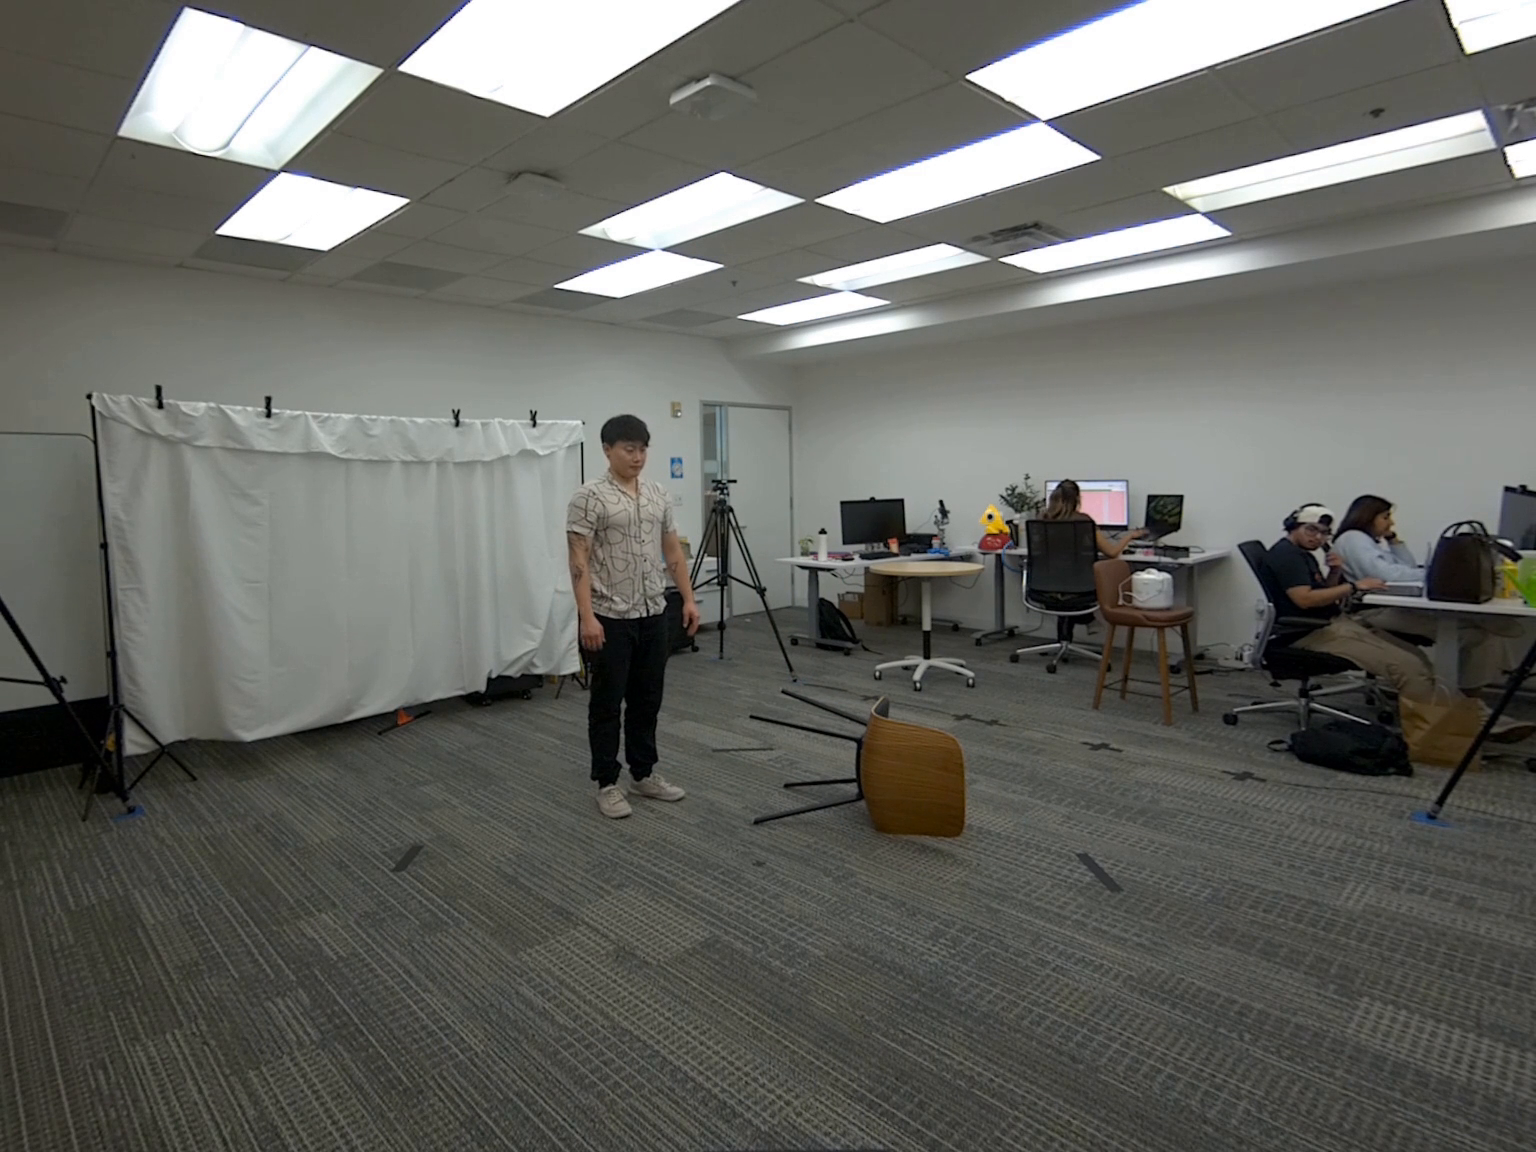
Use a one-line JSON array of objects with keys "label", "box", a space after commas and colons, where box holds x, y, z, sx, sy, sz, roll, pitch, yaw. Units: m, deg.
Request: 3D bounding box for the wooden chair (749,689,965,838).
[{"label": "wooden chair", "box": [0.412, 0.766, 3.524, 0.897, 0.476, 0.513, 0, 5, 24]}]
